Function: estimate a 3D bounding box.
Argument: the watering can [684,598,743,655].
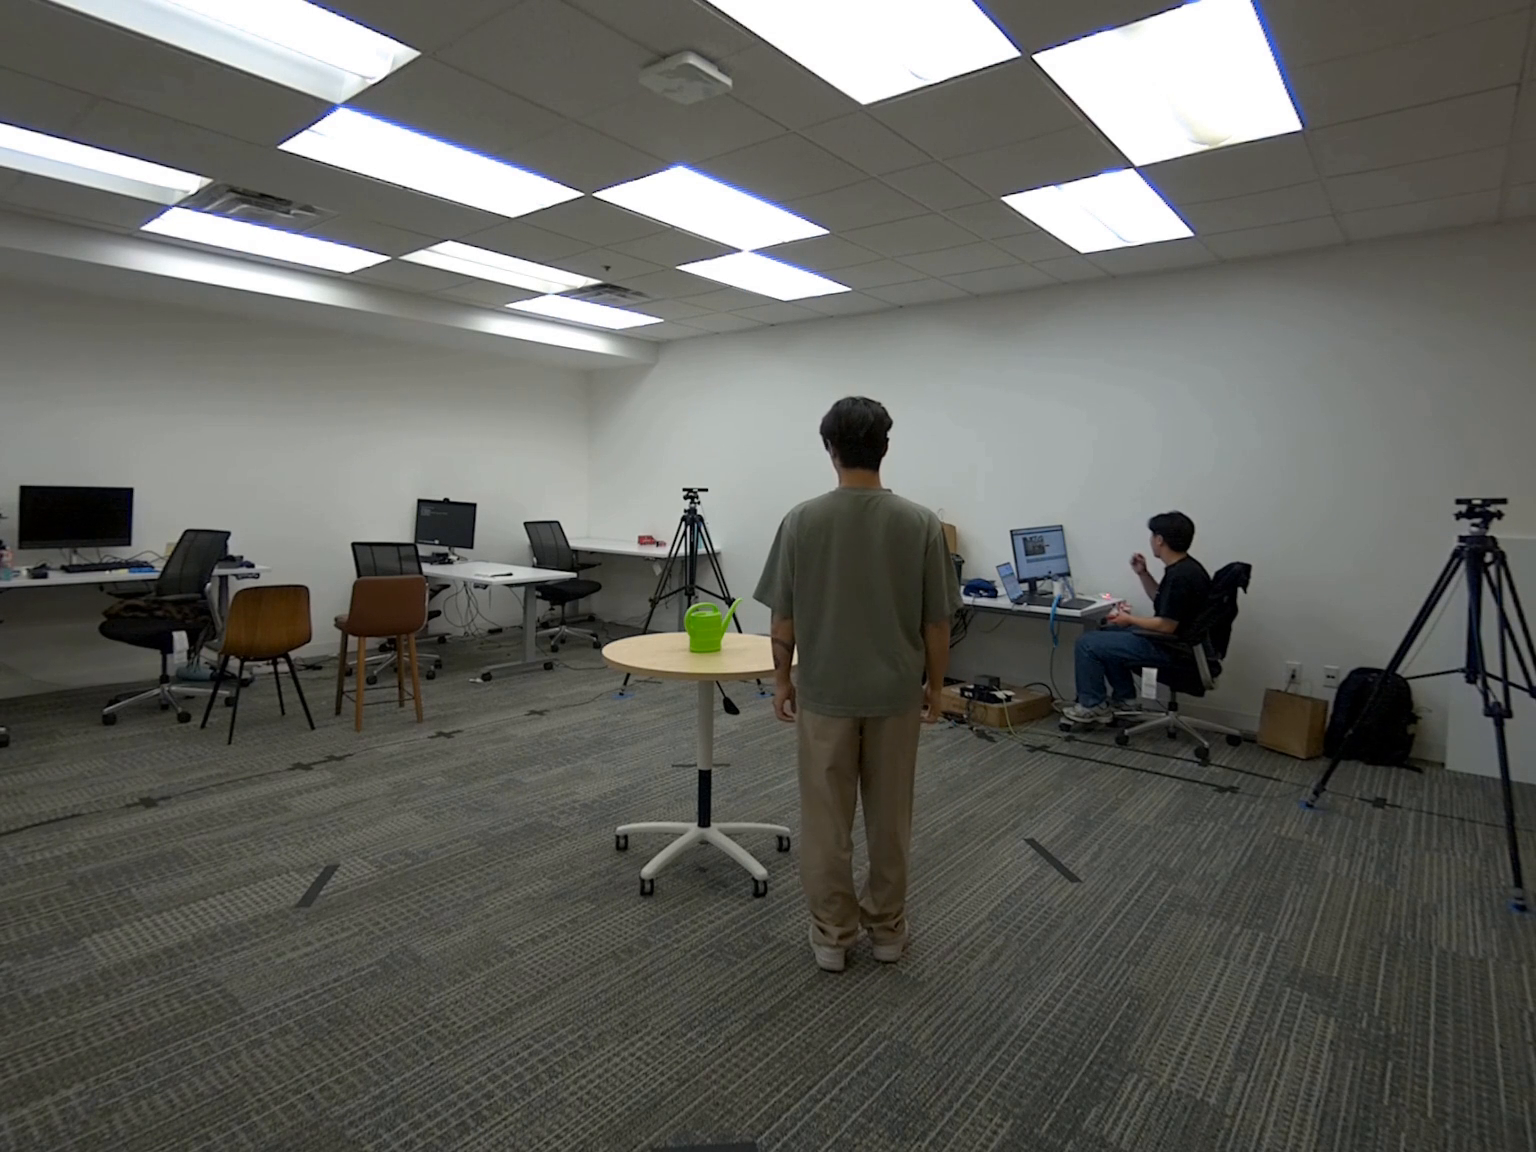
[{"bbox_3d":[-0.199,0.181,3.142,0.271,0.176,0.101,-3,6,-28],"label":"watering can"}]
